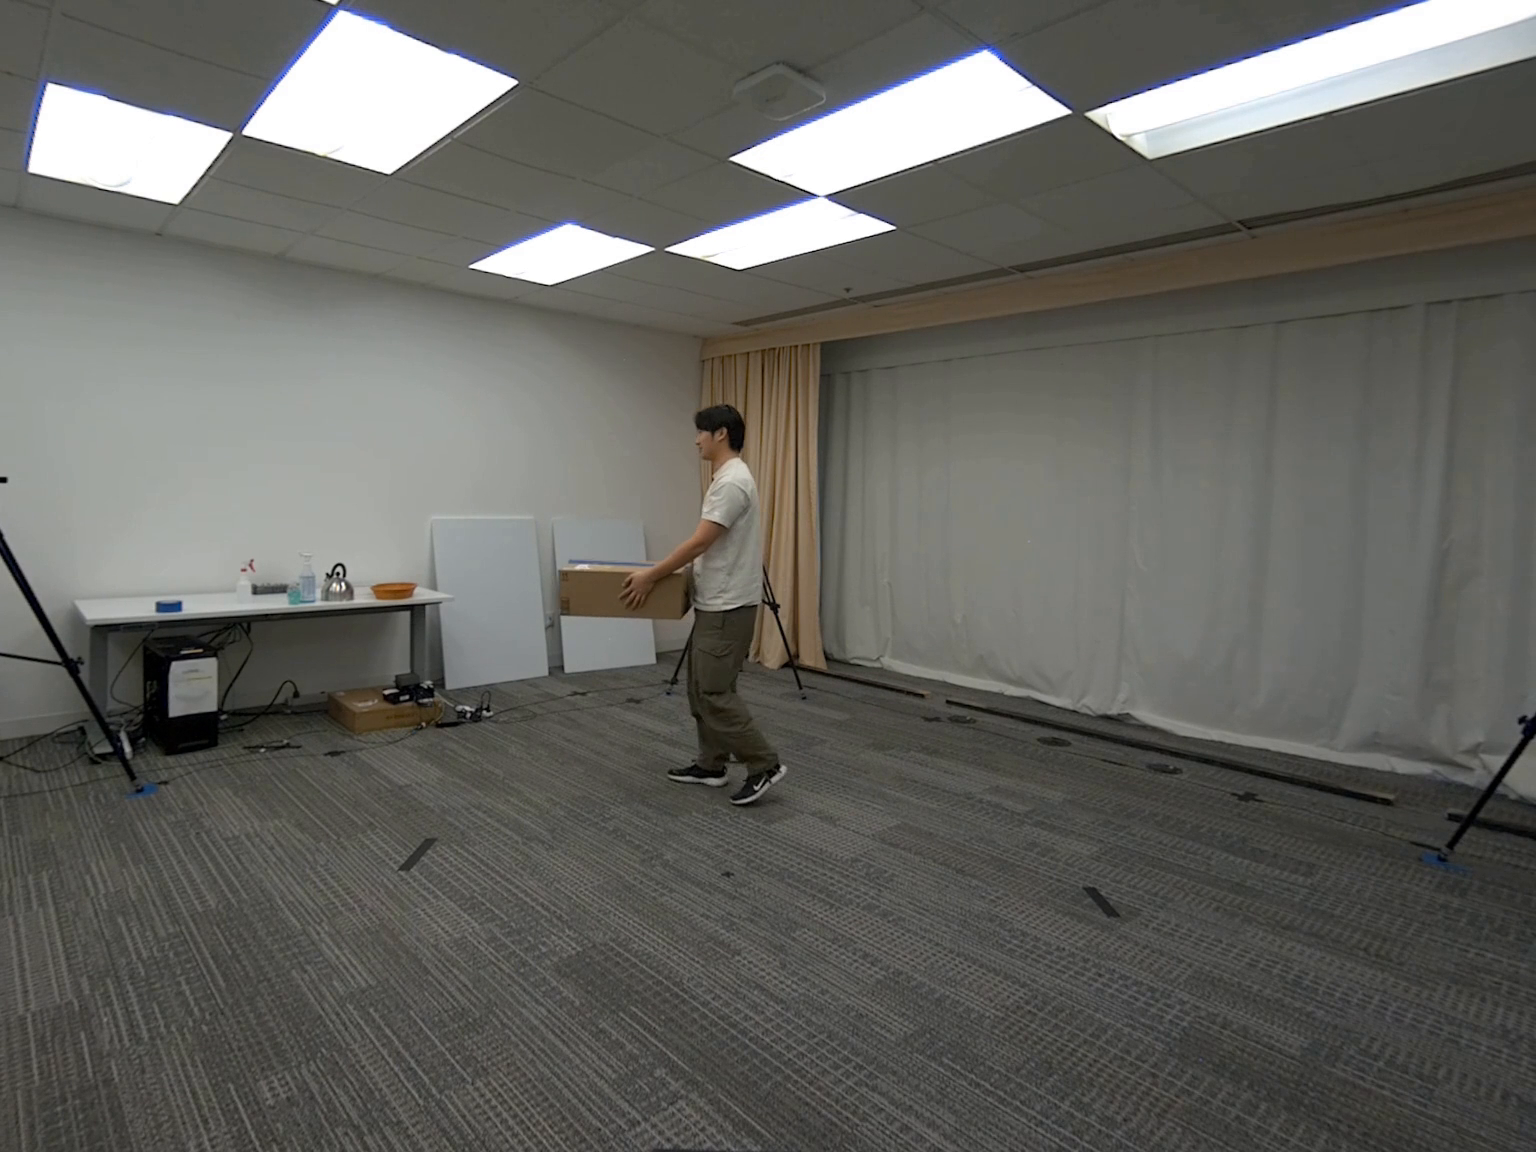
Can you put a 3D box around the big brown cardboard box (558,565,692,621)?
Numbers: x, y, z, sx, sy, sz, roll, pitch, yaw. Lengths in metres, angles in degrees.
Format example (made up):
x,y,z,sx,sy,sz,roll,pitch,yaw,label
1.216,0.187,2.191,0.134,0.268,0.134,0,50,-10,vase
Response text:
x,y,z,sx,sy,sz,roll,pitch,yaw,label
-0.665,0.057,3.985,0.590,0.232,0.418,3,7,2,big brown cardboard box
